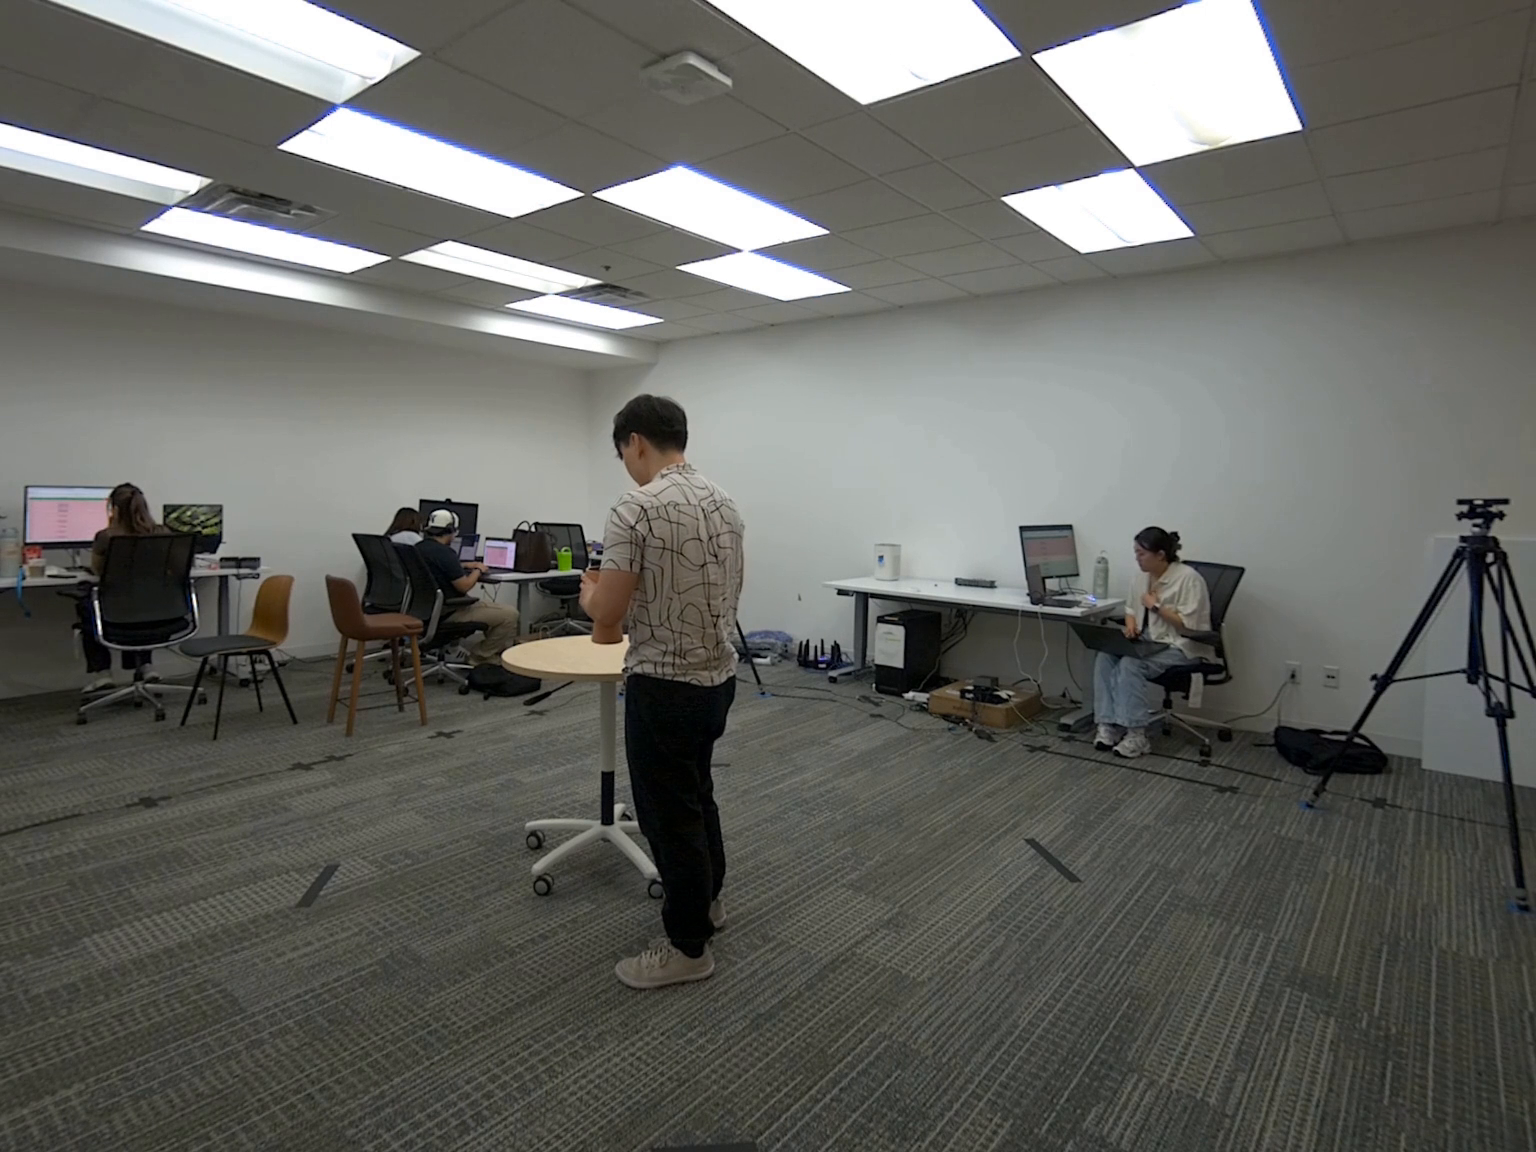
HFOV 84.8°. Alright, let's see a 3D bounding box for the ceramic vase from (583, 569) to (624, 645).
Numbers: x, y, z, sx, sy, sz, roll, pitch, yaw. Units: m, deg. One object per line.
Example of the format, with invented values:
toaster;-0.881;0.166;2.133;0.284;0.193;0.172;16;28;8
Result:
ceramic vase;-0.490;0.081;2.558;0.132;0.219;0.162;-1;5;-17
